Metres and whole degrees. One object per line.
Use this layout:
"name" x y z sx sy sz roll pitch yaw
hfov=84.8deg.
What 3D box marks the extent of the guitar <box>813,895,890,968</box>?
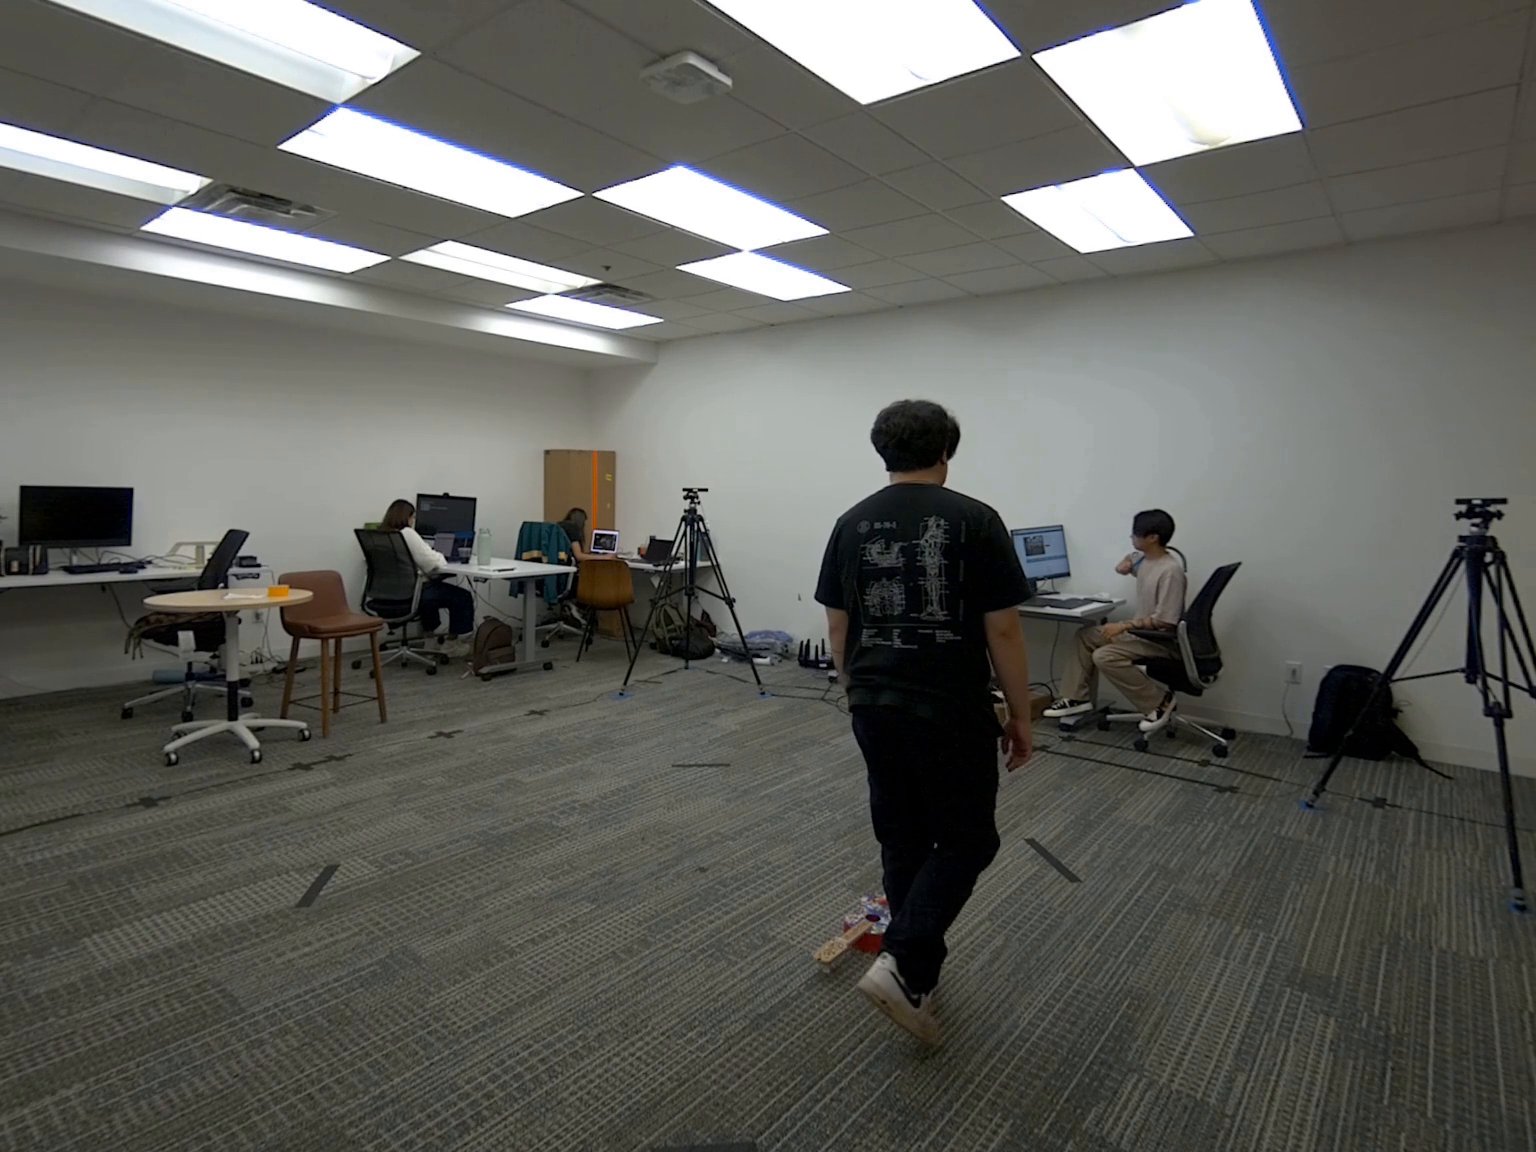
"guitar" 0.261 1.094 2.623 0.482 0.070 0.200 -3 7 -44
